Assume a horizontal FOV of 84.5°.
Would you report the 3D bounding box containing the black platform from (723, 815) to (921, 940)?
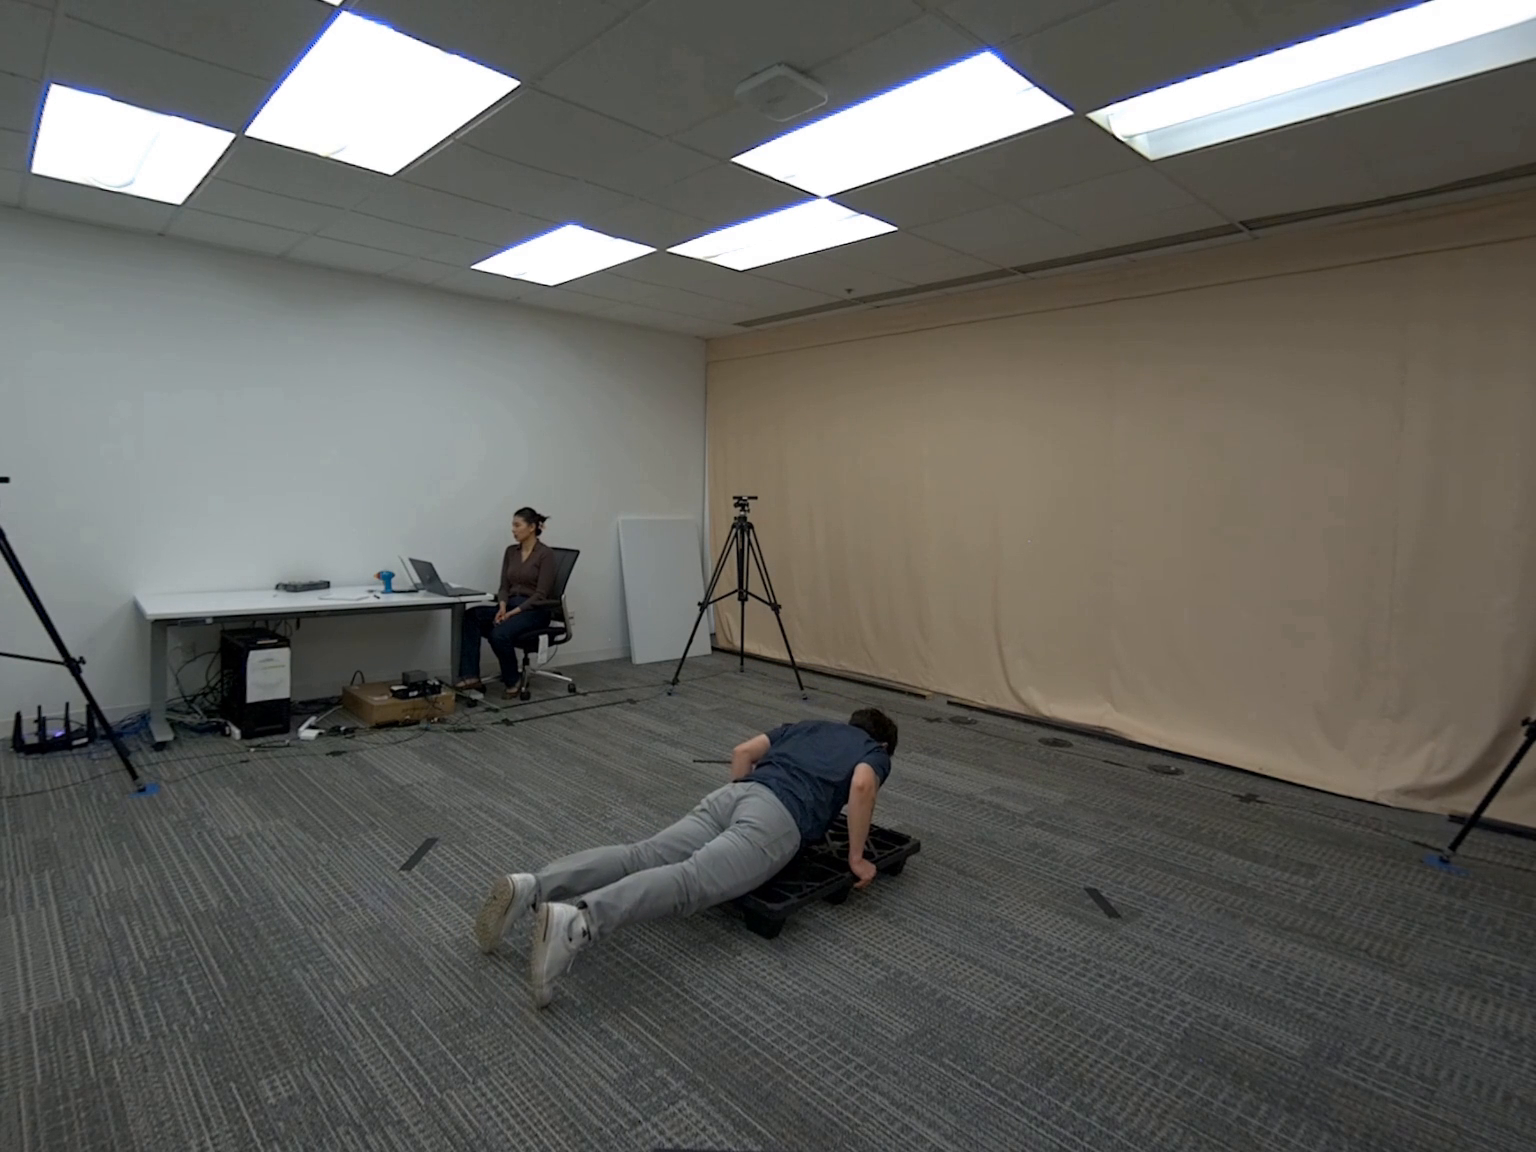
[{"bbox_3d":[0.084,1.050,3.064,0.620,0.143,0.787,6,7,44],"label":"black platform"}]
